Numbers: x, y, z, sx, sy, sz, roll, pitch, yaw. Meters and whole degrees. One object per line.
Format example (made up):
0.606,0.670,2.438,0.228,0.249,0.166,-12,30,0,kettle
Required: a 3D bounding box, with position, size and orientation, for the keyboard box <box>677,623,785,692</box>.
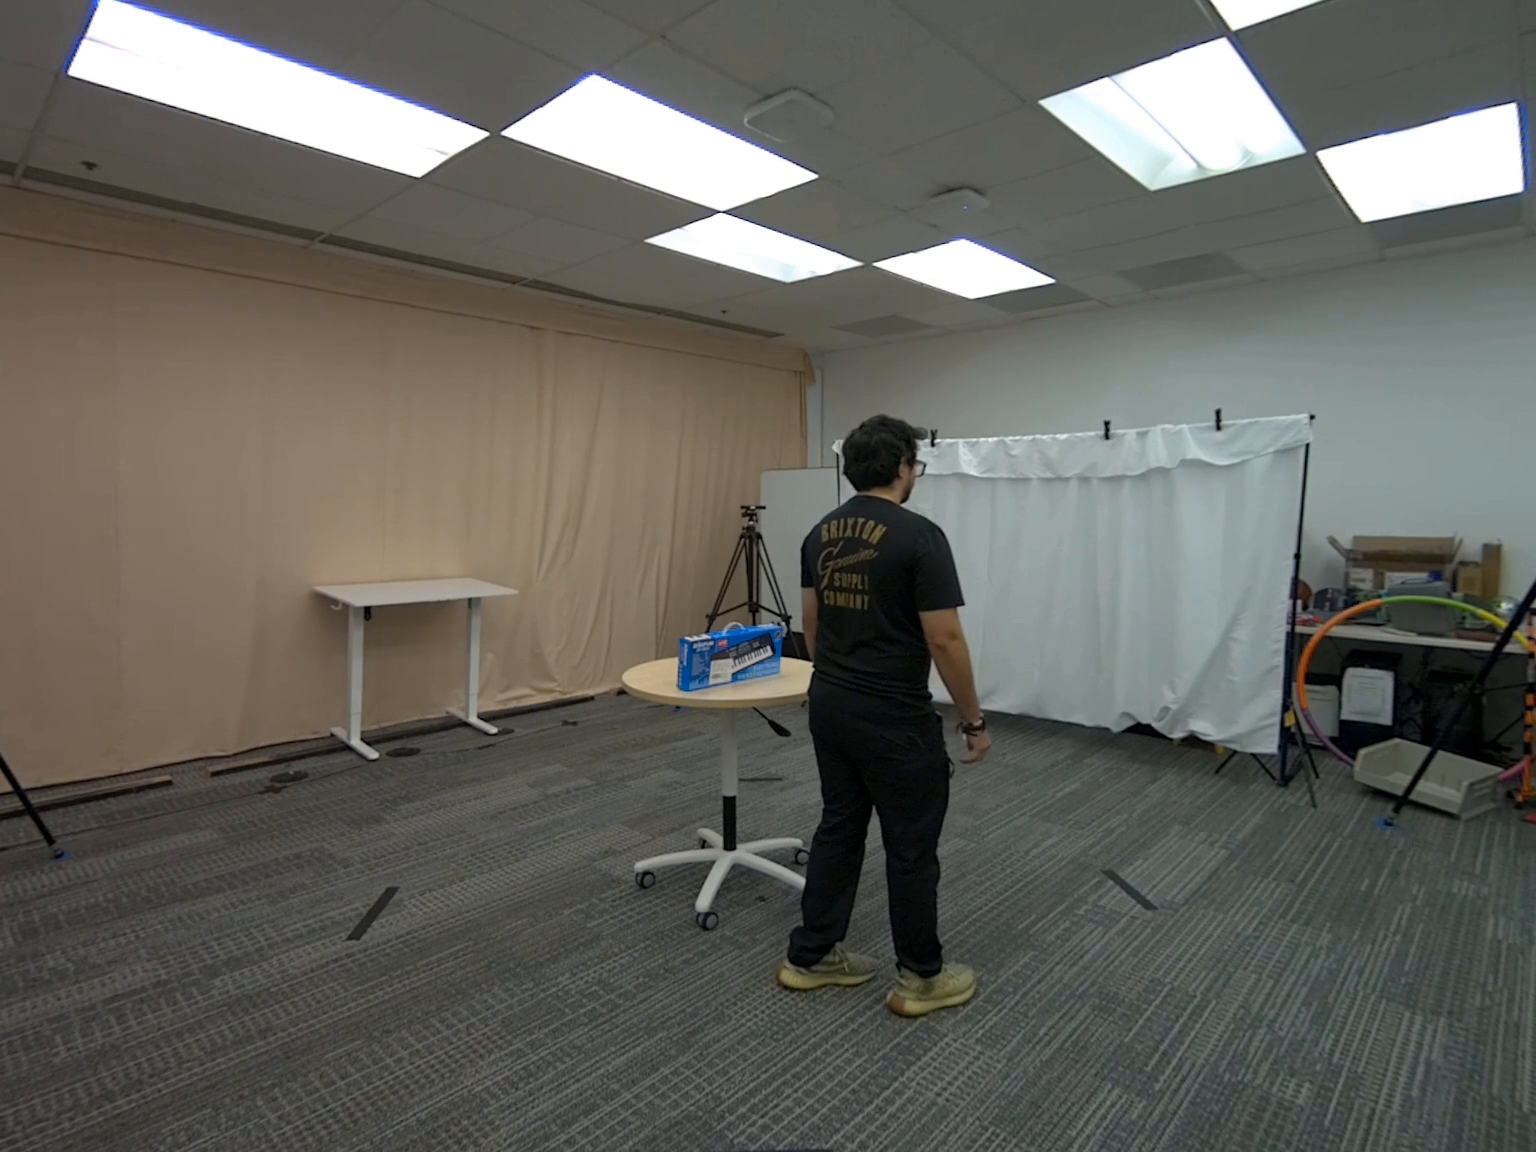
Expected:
-0.125,0.281,2.919,0.424,0.175,0.061,-5,12,-43,keyboard box
